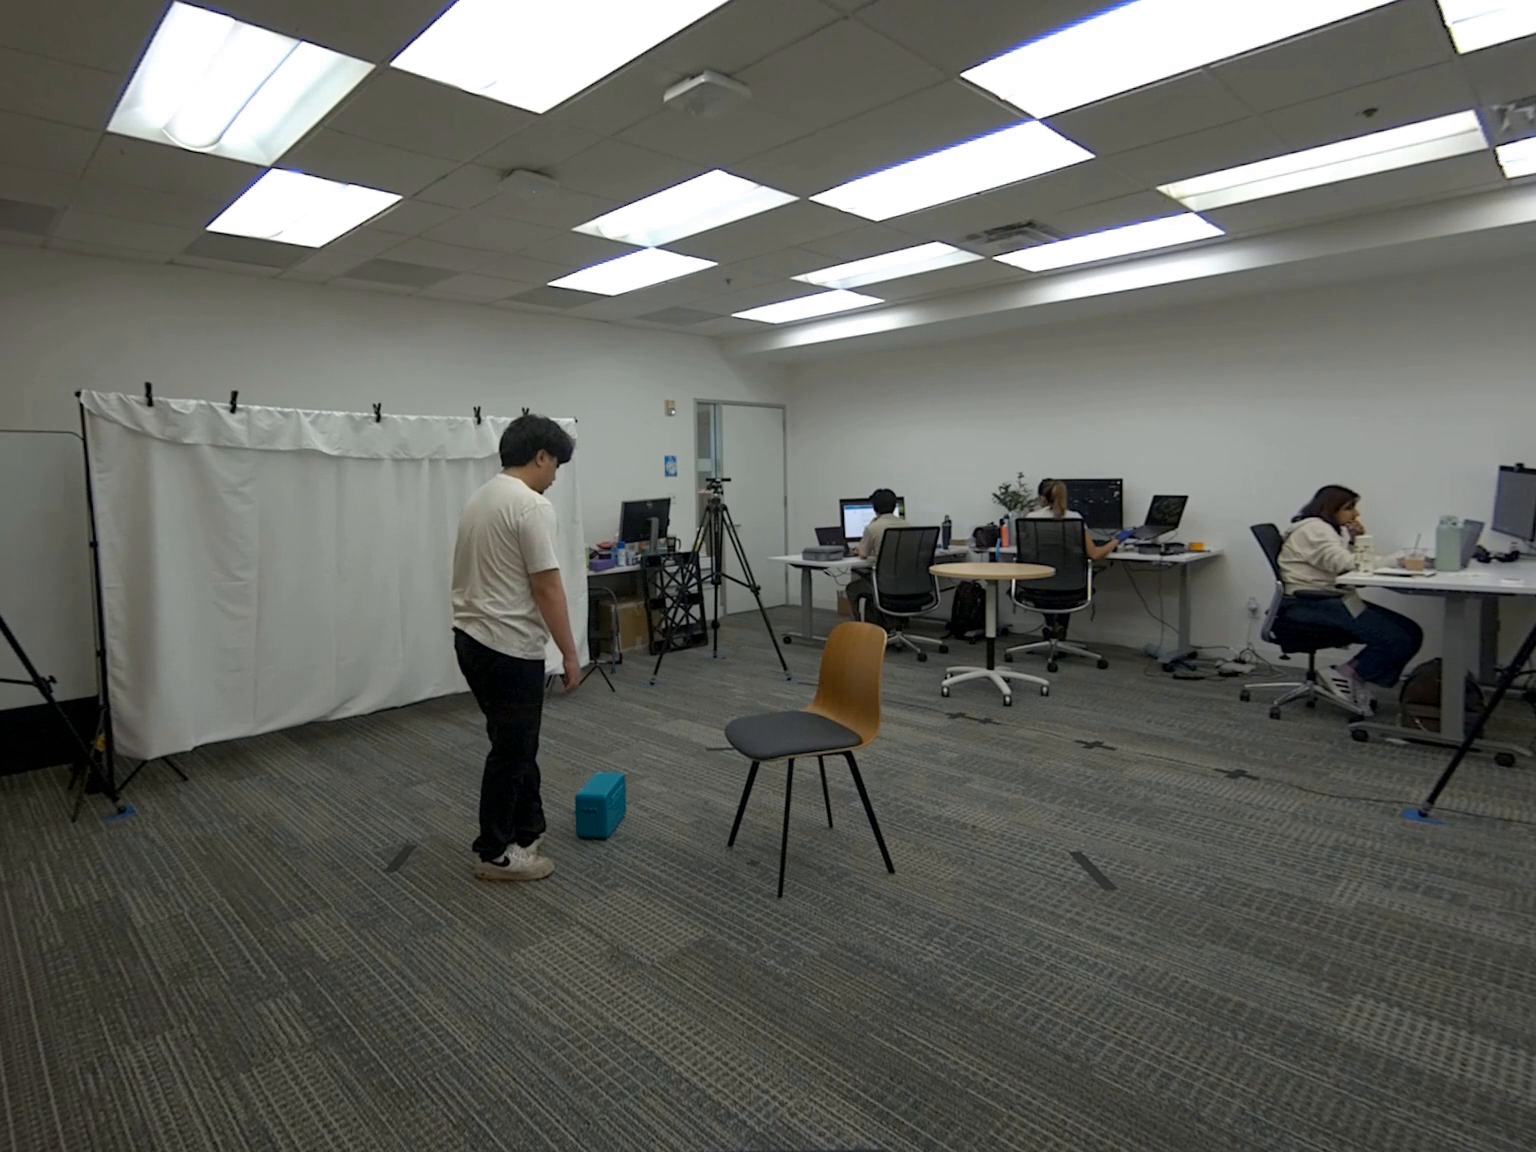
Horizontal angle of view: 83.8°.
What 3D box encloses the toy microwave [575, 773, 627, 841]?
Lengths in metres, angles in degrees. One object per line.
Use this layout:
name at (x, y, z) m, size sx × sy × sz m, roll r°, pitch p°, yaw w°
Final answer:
toy microwave at (-0.680, 0.922, 3.452) m, size 0.154 × 0.183 × 0.285 m, roll 2°, pitch 6°, yaw 7°
